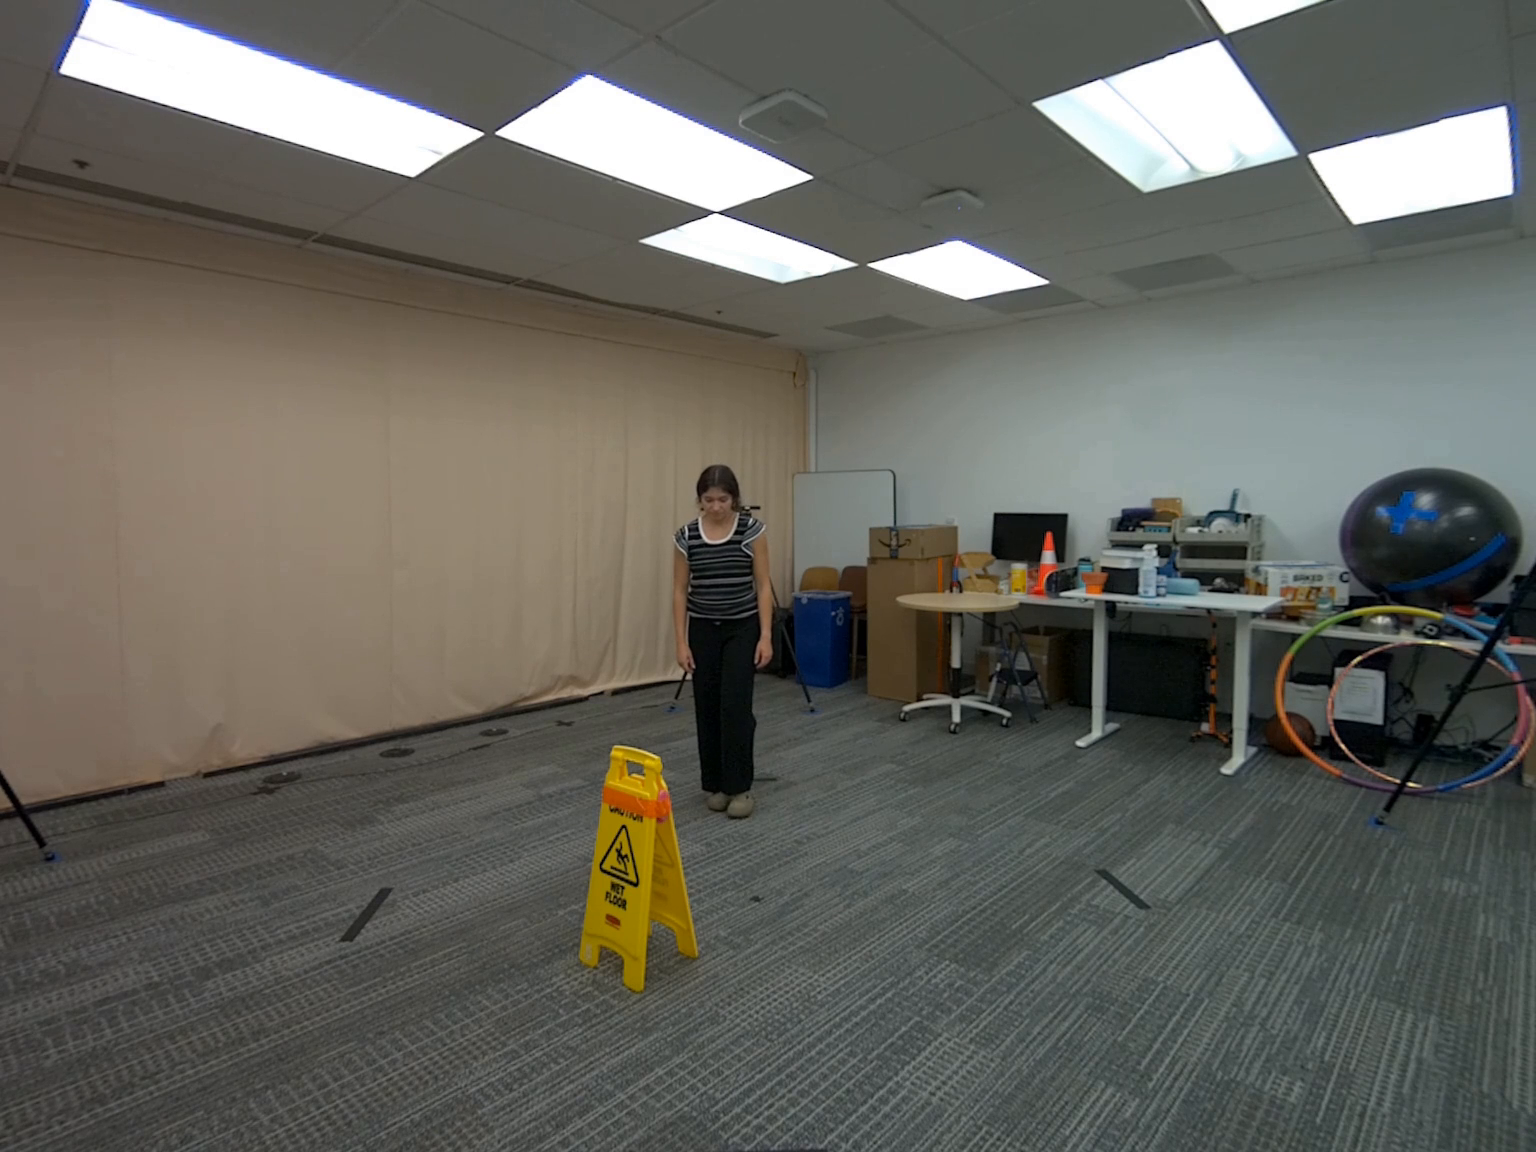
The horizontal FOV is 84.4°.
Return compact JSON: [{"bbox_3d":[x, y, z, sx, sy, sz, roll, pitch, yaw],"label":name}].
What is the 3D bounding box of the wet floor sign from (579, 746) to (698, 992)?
[{"bbox_3d":[-0.400,0.850,2.573,0.291,0.645,0.281,2,4,40],"label":"wet floor sign"}]
